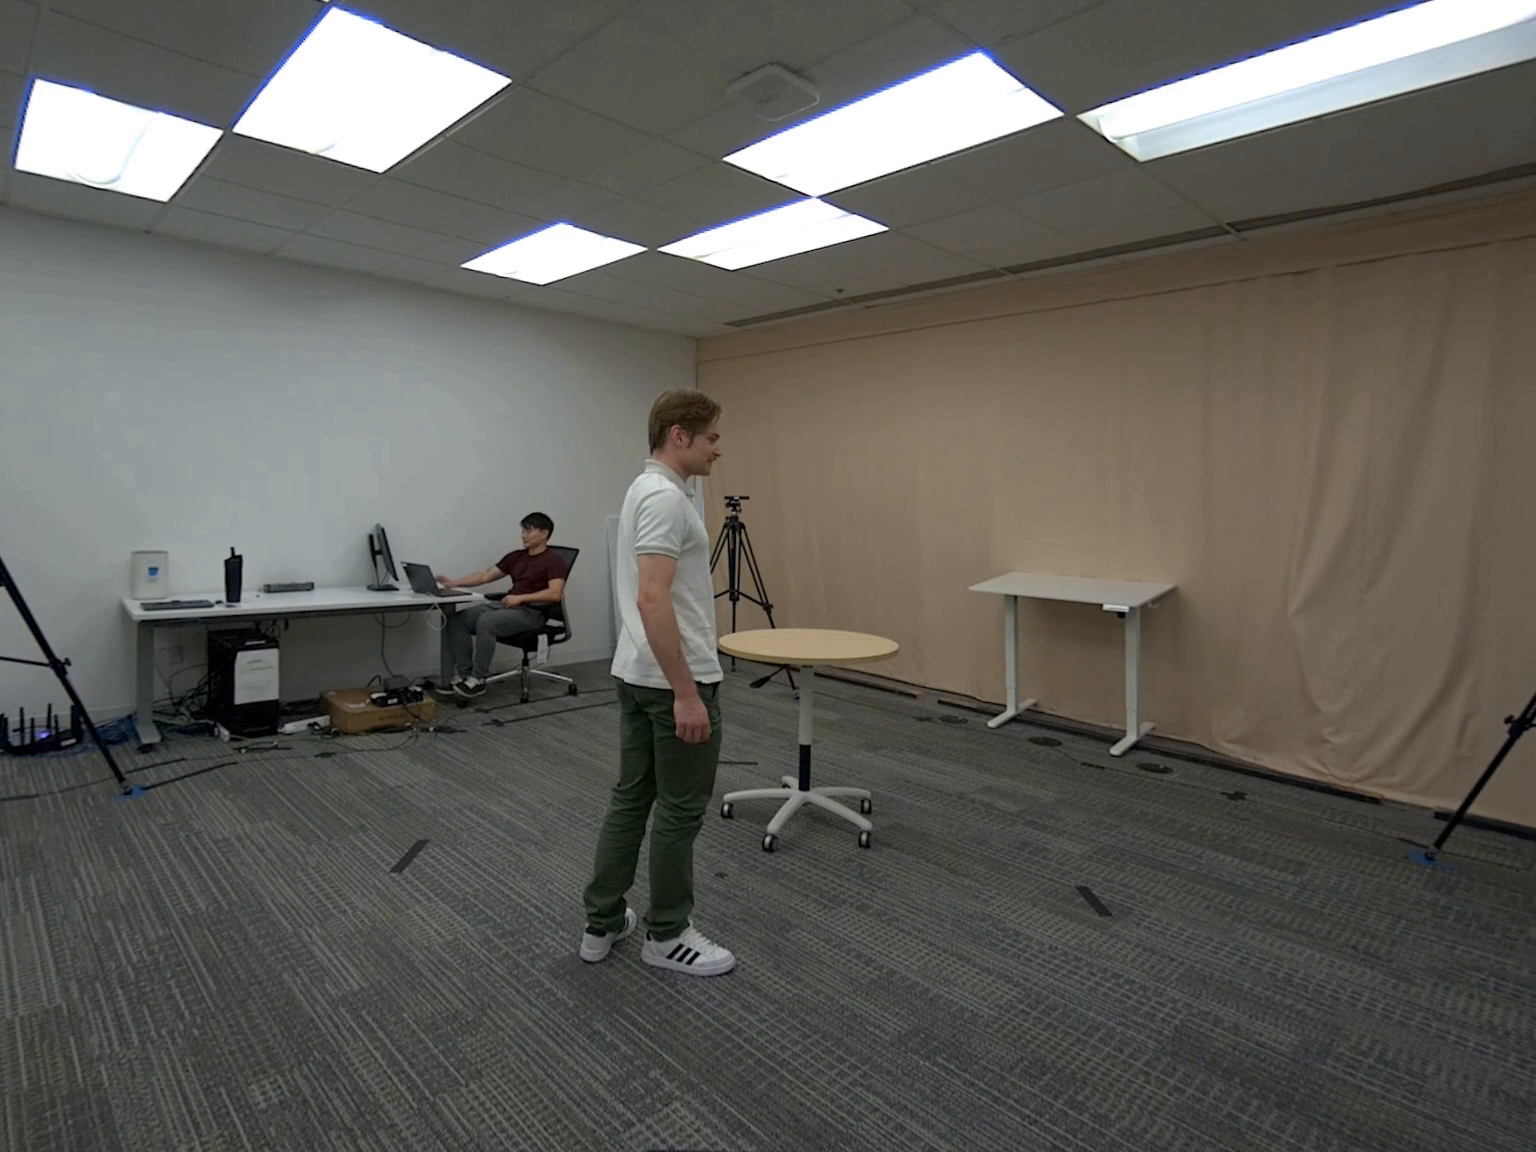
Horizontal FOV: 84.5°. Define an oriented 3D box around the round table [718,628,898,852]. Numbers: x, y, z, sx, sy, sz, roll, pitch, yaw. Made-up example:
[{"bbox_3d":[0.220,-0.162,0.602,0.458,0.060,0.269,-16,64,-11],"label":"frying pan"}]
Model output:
[{"bbox_3d":[0.158,0.678,3.620,0.763,0.792,0.766,1,4,-1],"label":"round table"}]
